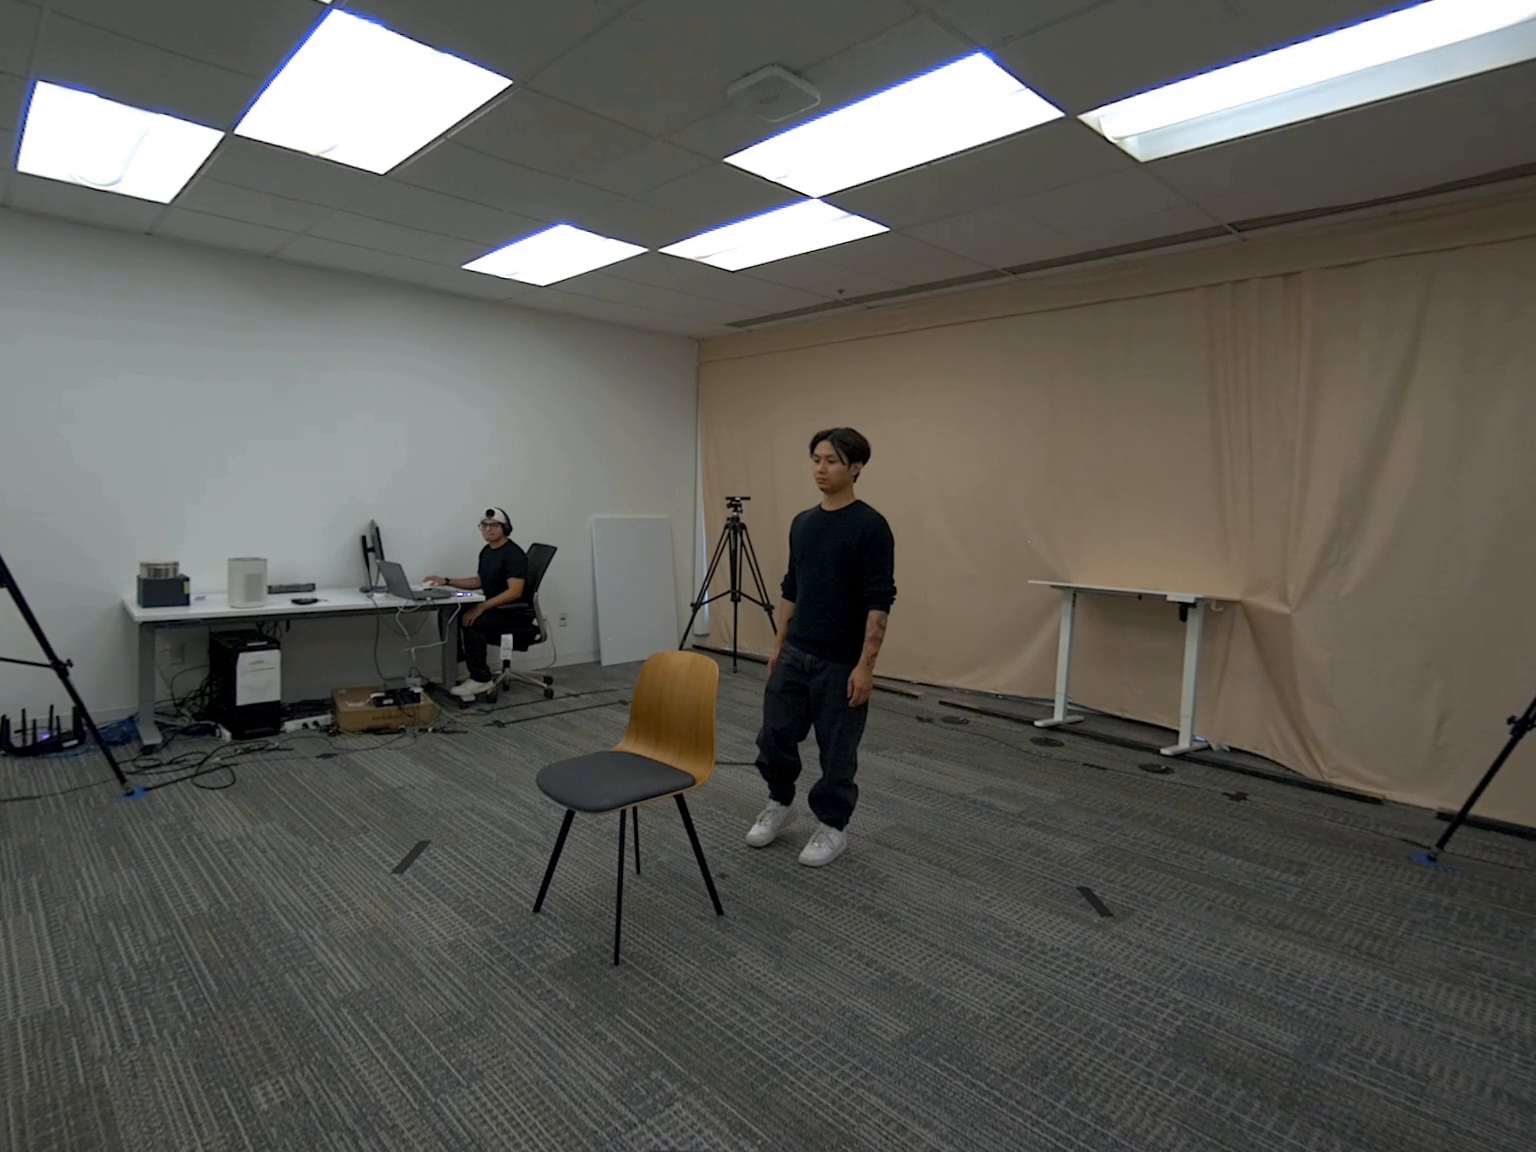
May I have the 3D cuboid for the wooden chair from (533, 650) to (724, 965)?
[{"bbox_3d":[-0.463,0.704,2.768,0.490,0.877,0.510,4,0,43],"label":"wooden chair"}]
